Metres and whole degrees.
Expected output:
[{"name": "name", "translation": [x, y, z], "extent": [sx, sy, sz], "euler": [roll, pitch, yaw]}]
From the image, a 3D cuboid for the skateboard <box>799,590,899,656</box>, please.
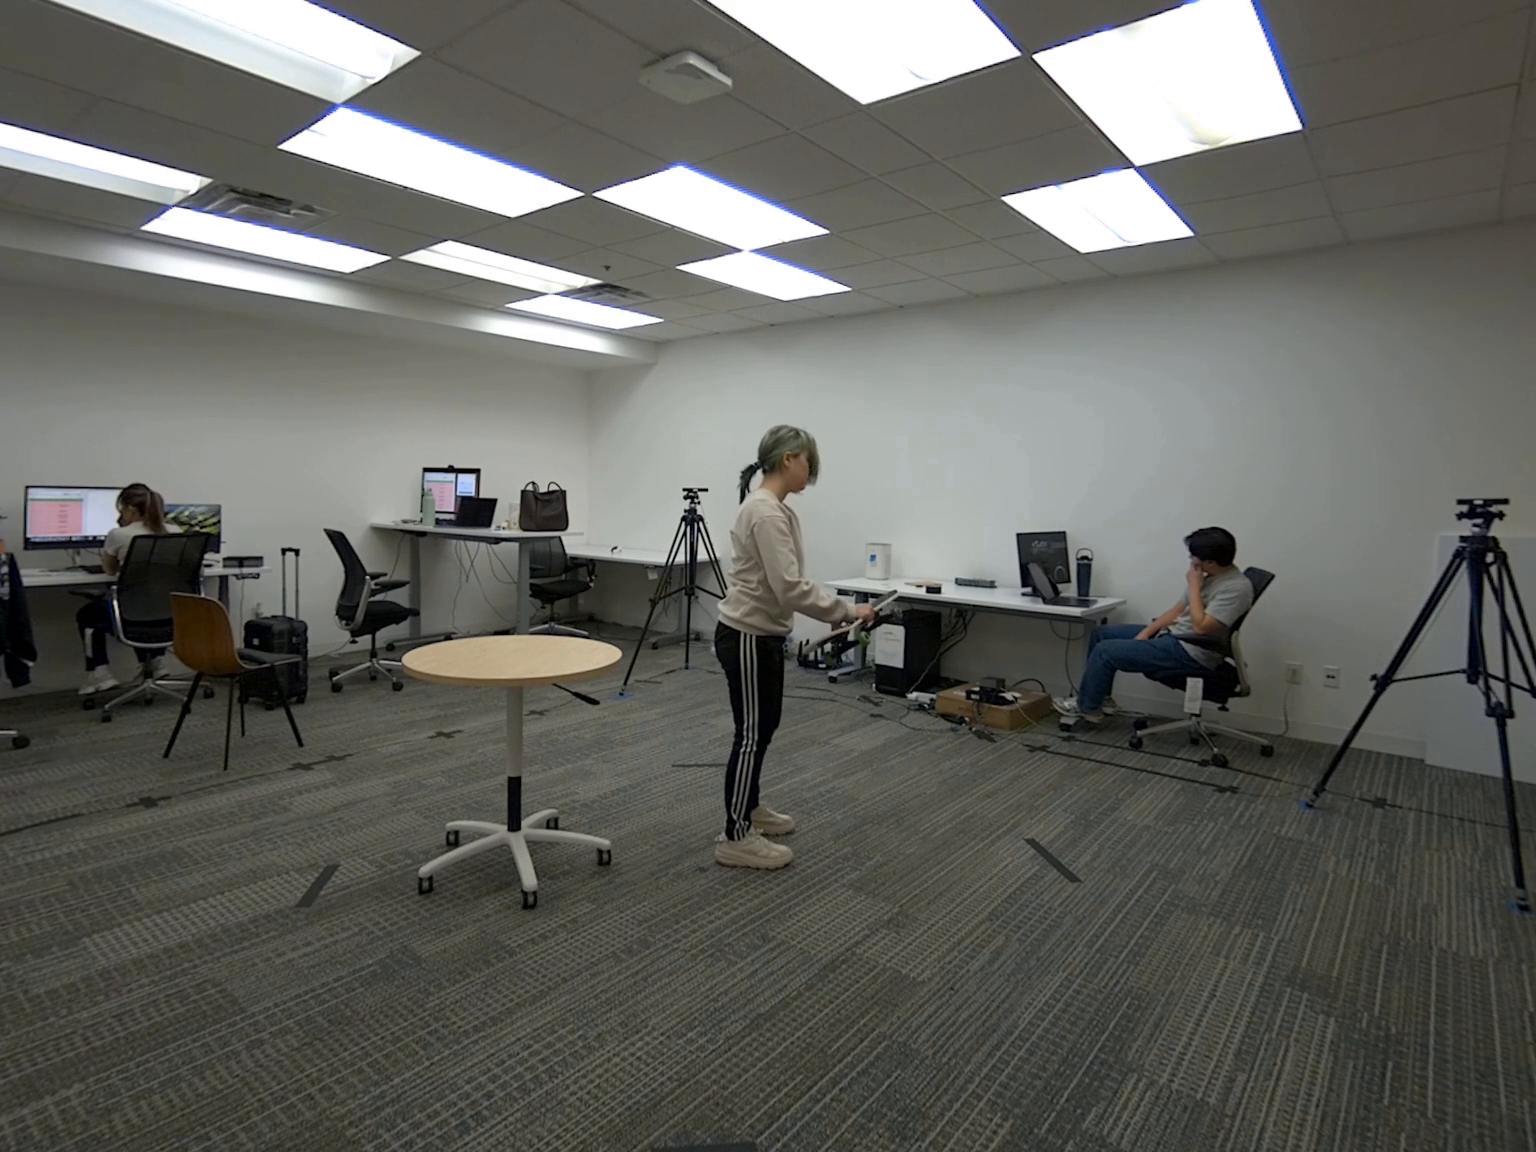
[{"name": "skateboard", "translation": [0.339, 0.199, 3.204], "extent": [0.195, 0.111, 0.771], "euler": [-35, -6, 26]}]
